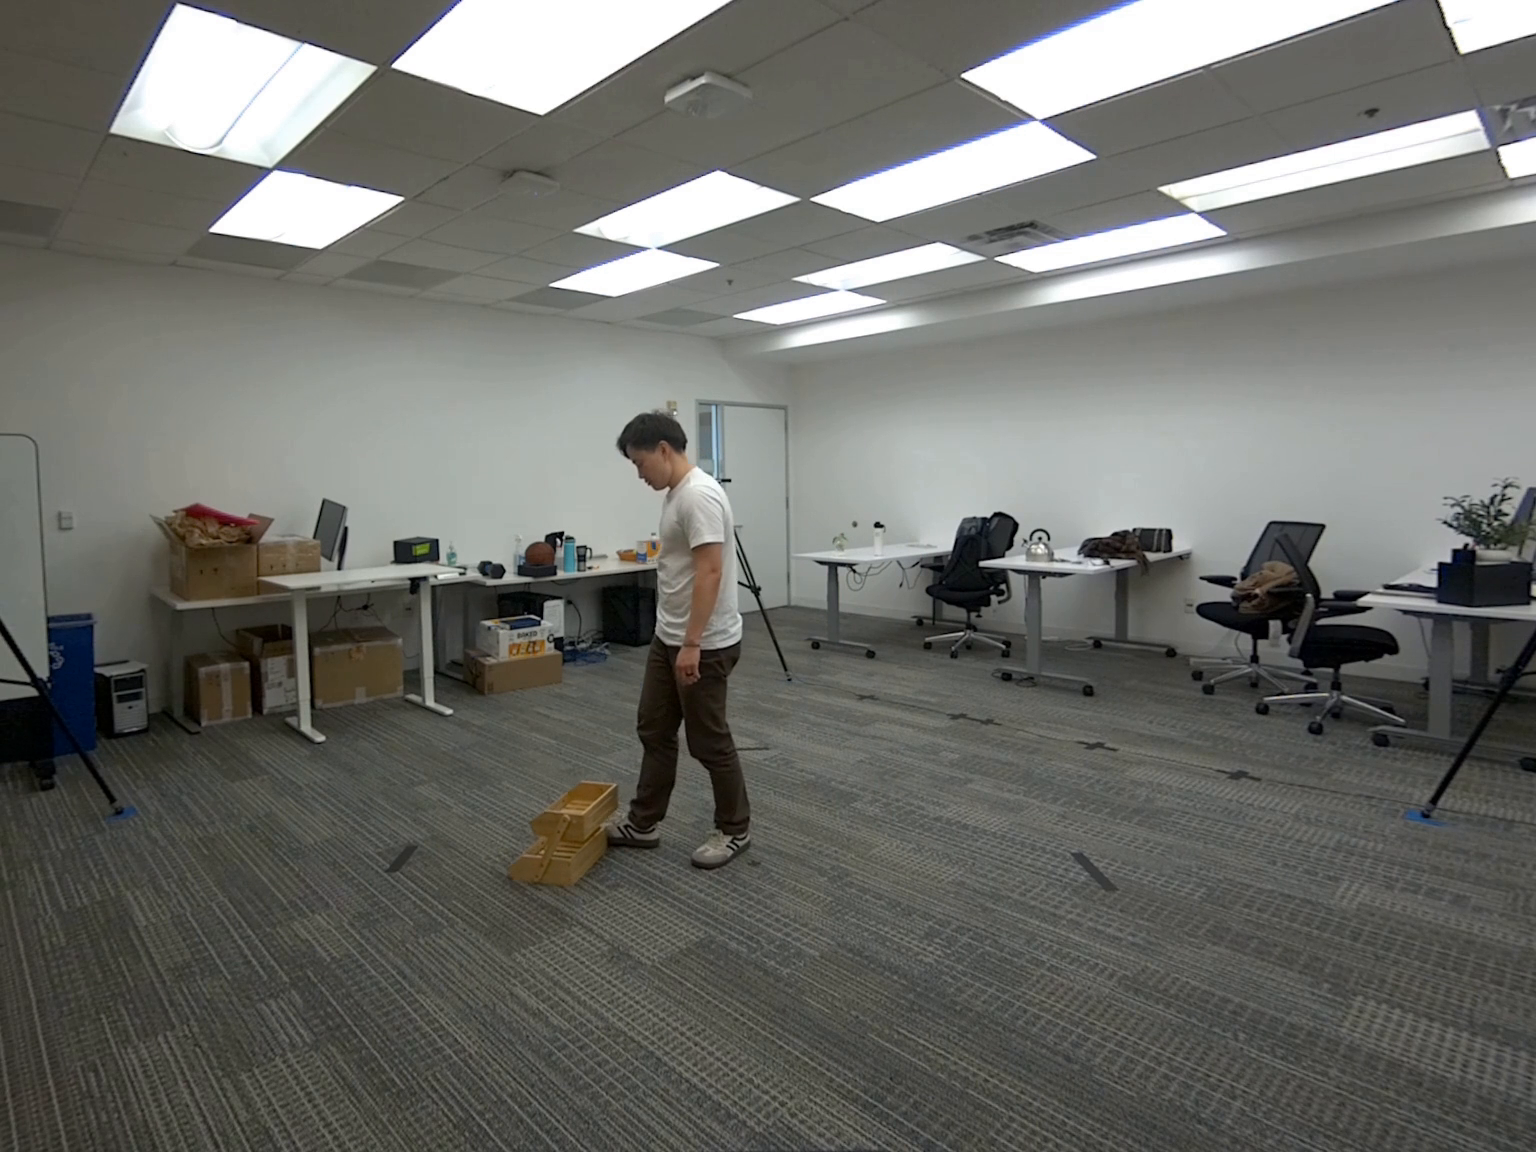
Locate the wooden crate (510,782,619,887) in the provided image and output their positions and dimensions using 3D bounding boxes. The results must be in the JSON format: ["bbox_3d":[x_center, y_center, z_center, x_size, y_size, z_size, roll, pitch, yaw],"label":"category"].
[{"bbox_3d":[-0.745,0.925,3.125,0.306,0.272,0.321,1,6,14],"label":"wooden crate"}]
